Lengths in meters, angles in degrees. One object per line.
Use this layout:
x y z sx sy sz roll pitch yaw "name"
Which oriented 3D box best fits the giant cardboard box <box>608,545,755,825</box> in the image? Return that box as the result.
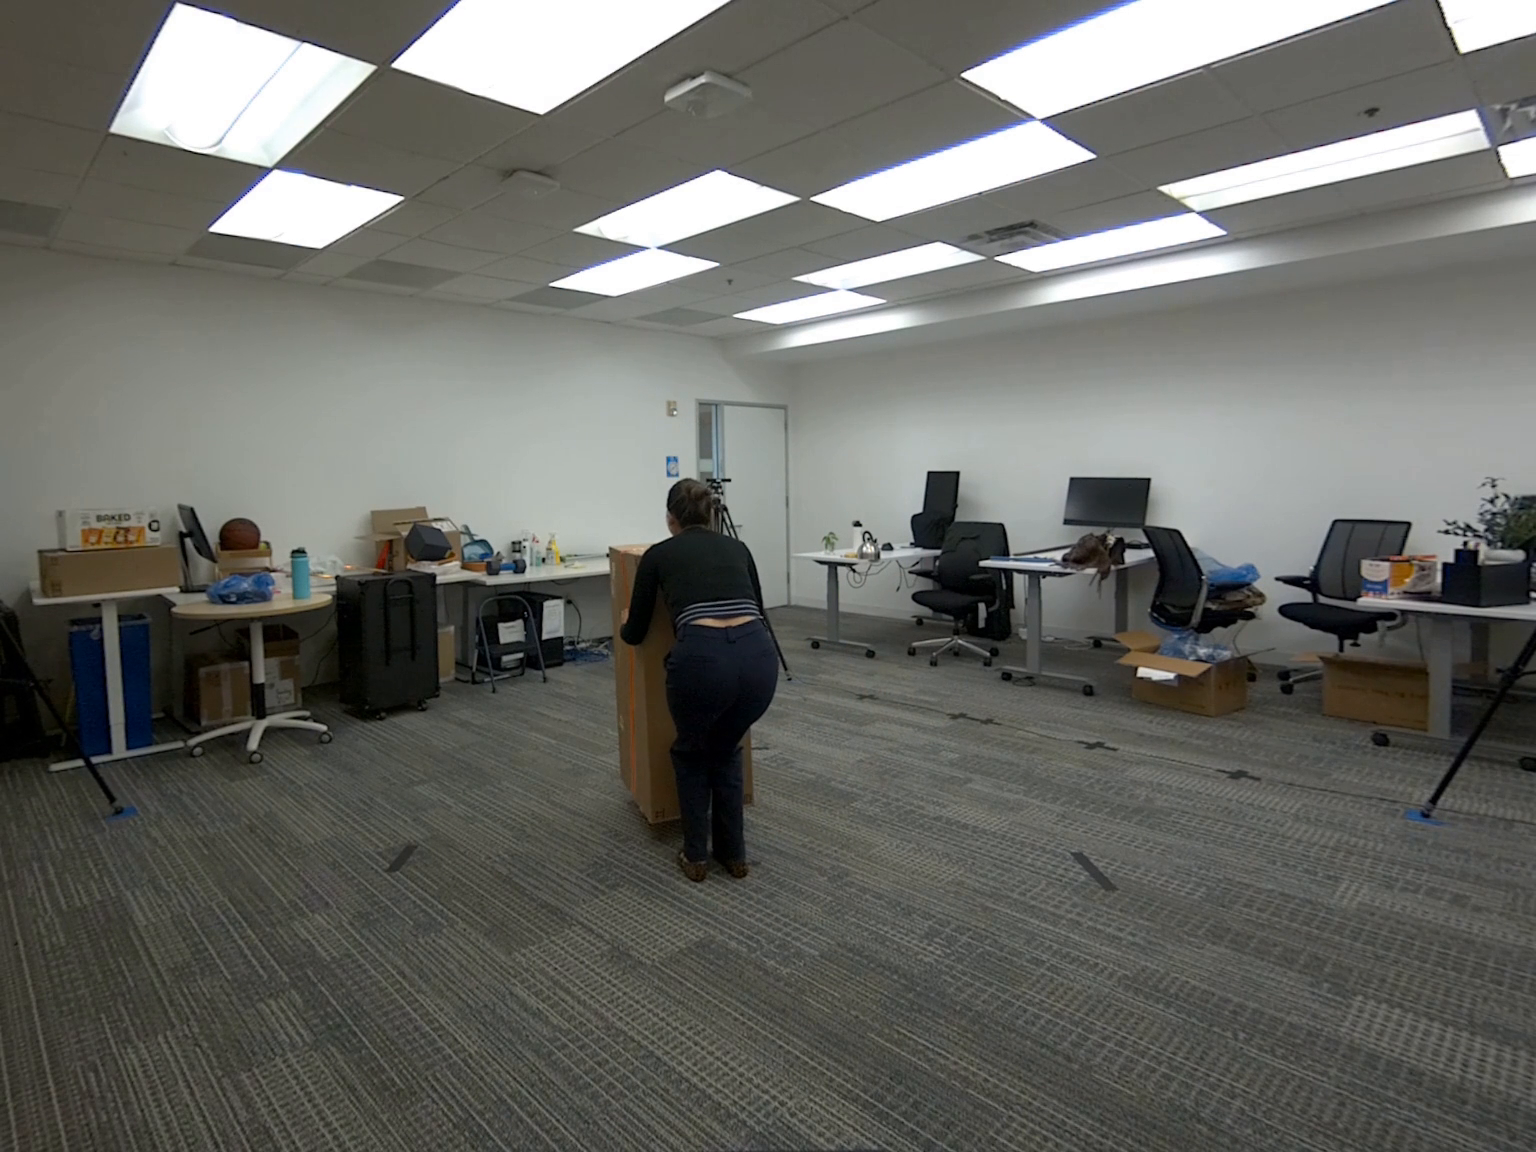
-0.376 0.391 3.537 0.419 1.022 0.589 -3 4 -20 "giant cardboard box"
